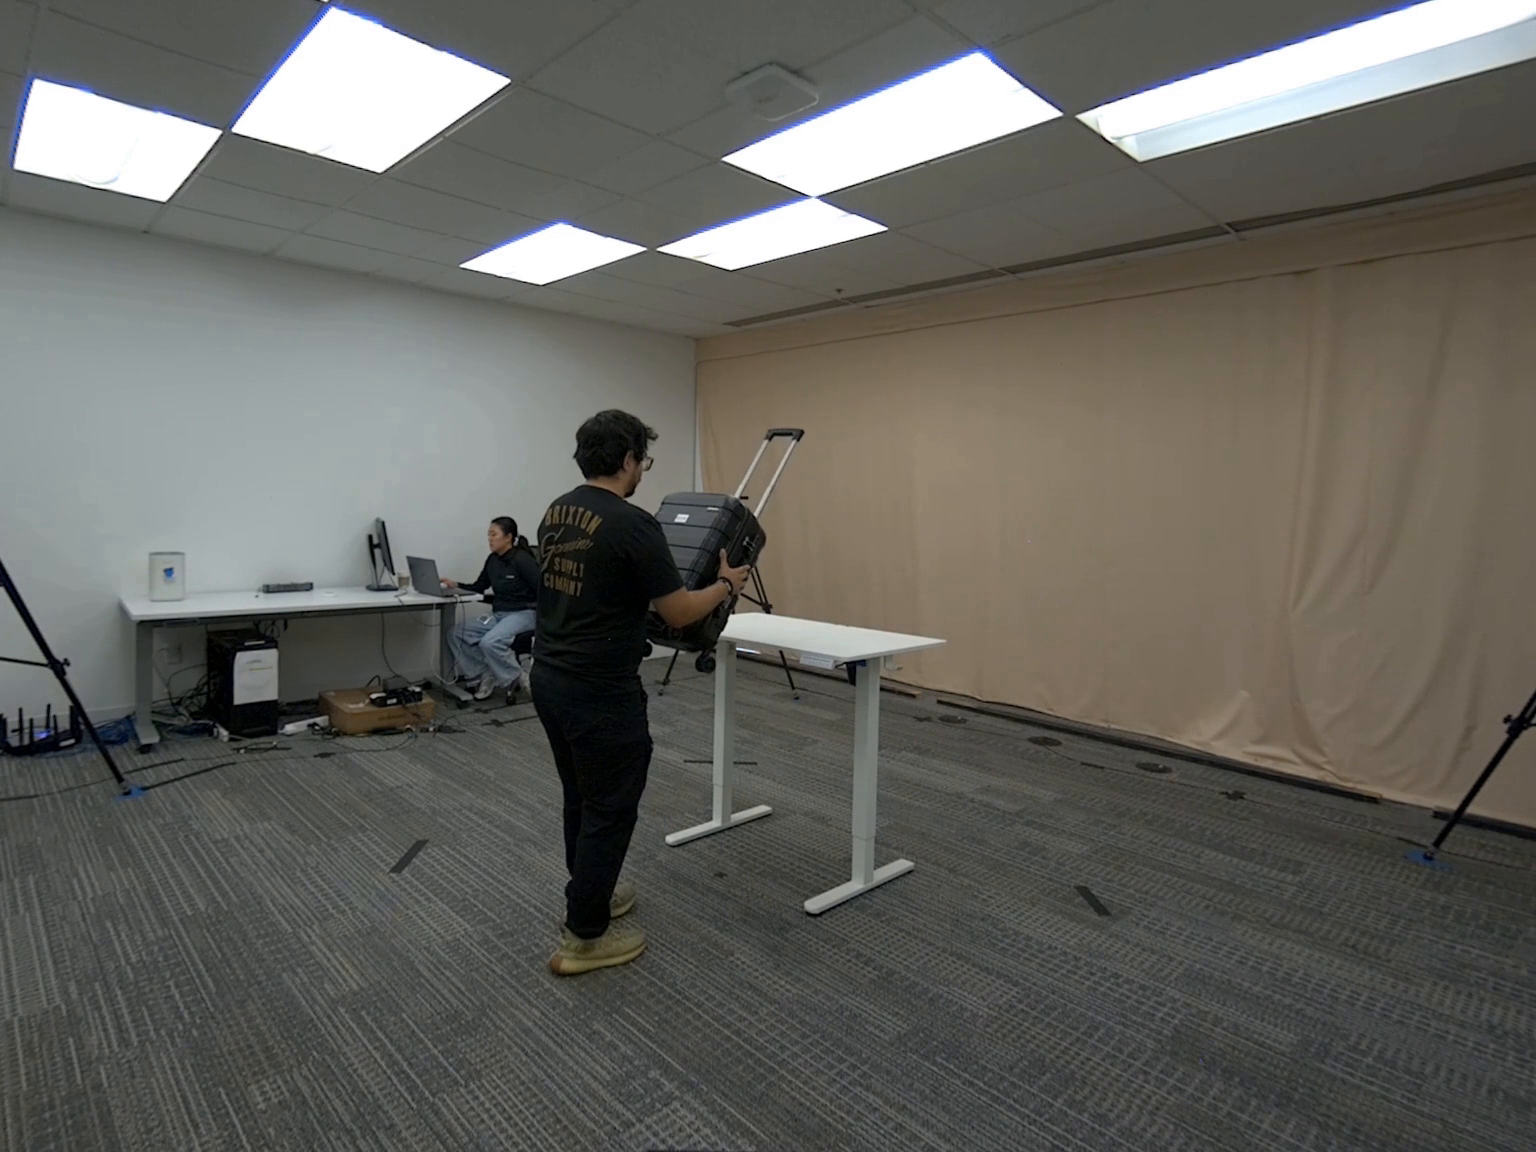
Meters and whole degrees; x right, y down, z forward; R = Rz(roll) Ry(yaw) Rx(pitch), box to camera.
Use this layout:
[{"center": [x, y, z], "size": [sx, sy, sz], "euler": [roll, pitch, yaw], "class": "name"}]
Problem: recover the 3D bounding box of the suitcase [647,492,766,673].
[{"center": [-0.186, -0.185, 2.863], "size": [0.394, 0.985, 0.249], "euler": [5, -28, 40], "class": "suitcase"}]
